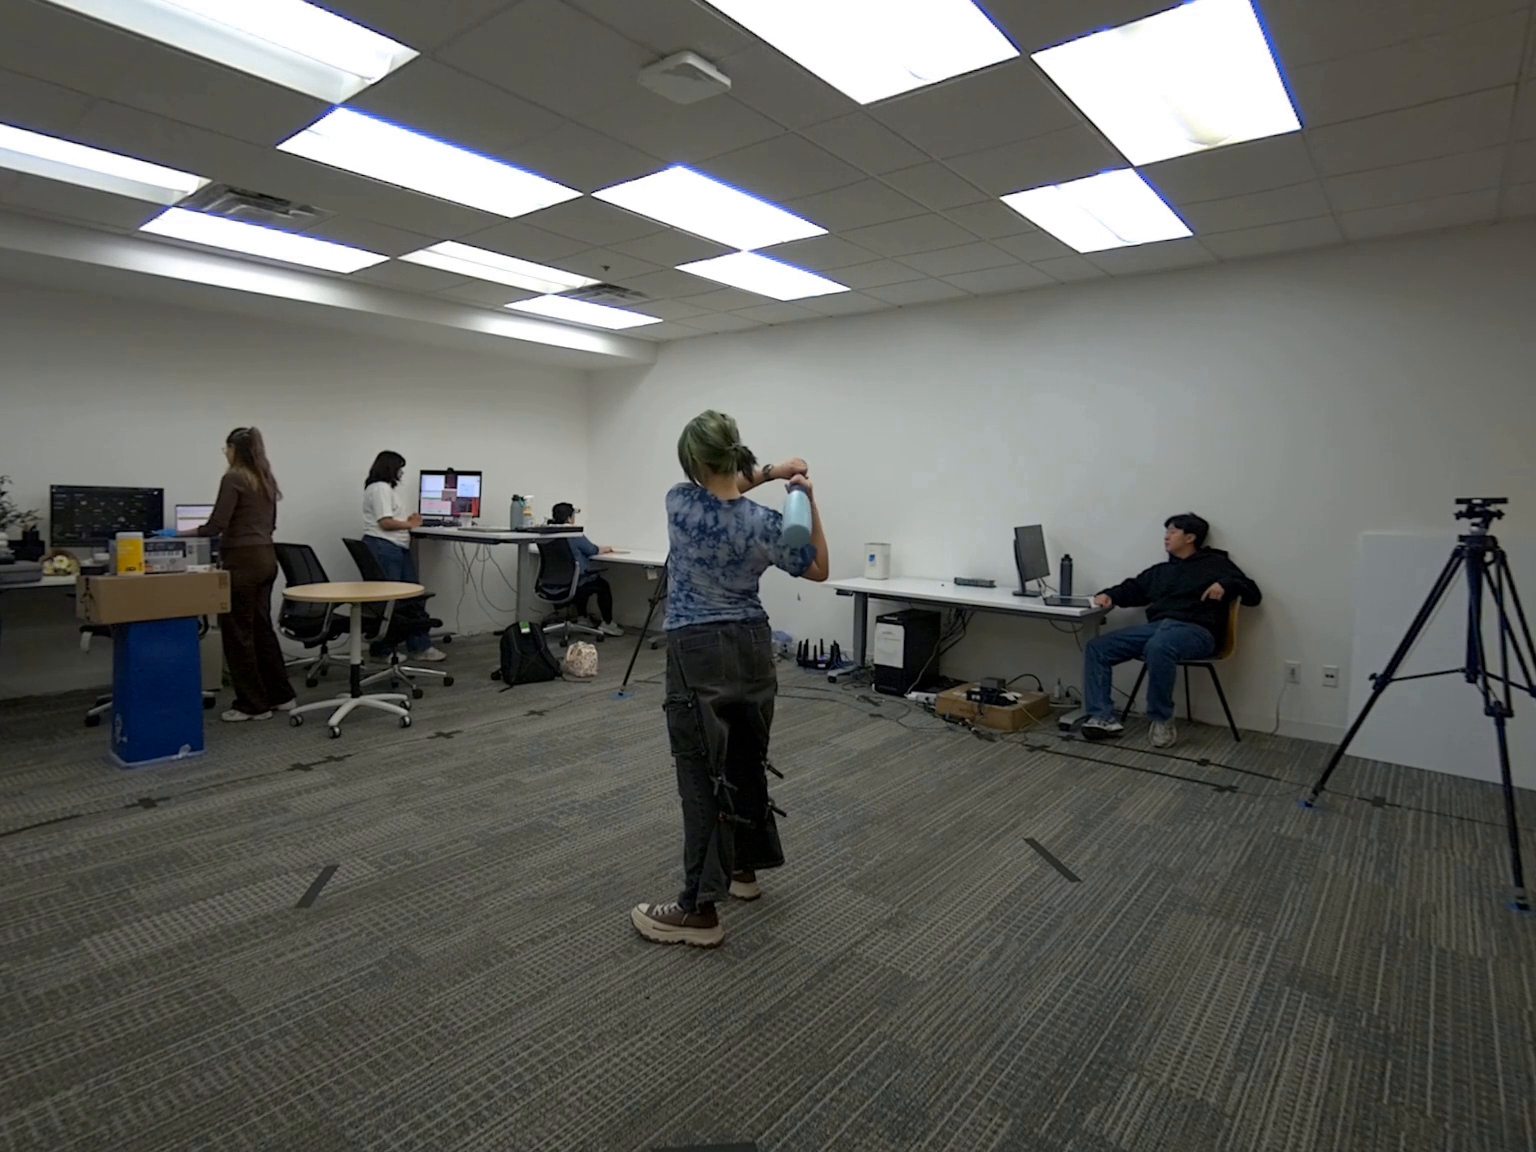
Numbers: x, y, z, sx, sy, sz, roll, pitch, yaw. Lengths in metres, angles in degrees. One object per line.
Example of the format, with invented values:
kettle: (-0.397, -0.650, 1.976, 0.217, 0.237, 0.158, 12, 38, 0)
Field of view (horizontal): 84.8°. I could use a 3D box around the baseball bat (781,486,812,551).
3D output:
baseball bat: (0.085, -0.255, 2.724, 0.089, 0.087, 0.555, 0, 30, 1)
